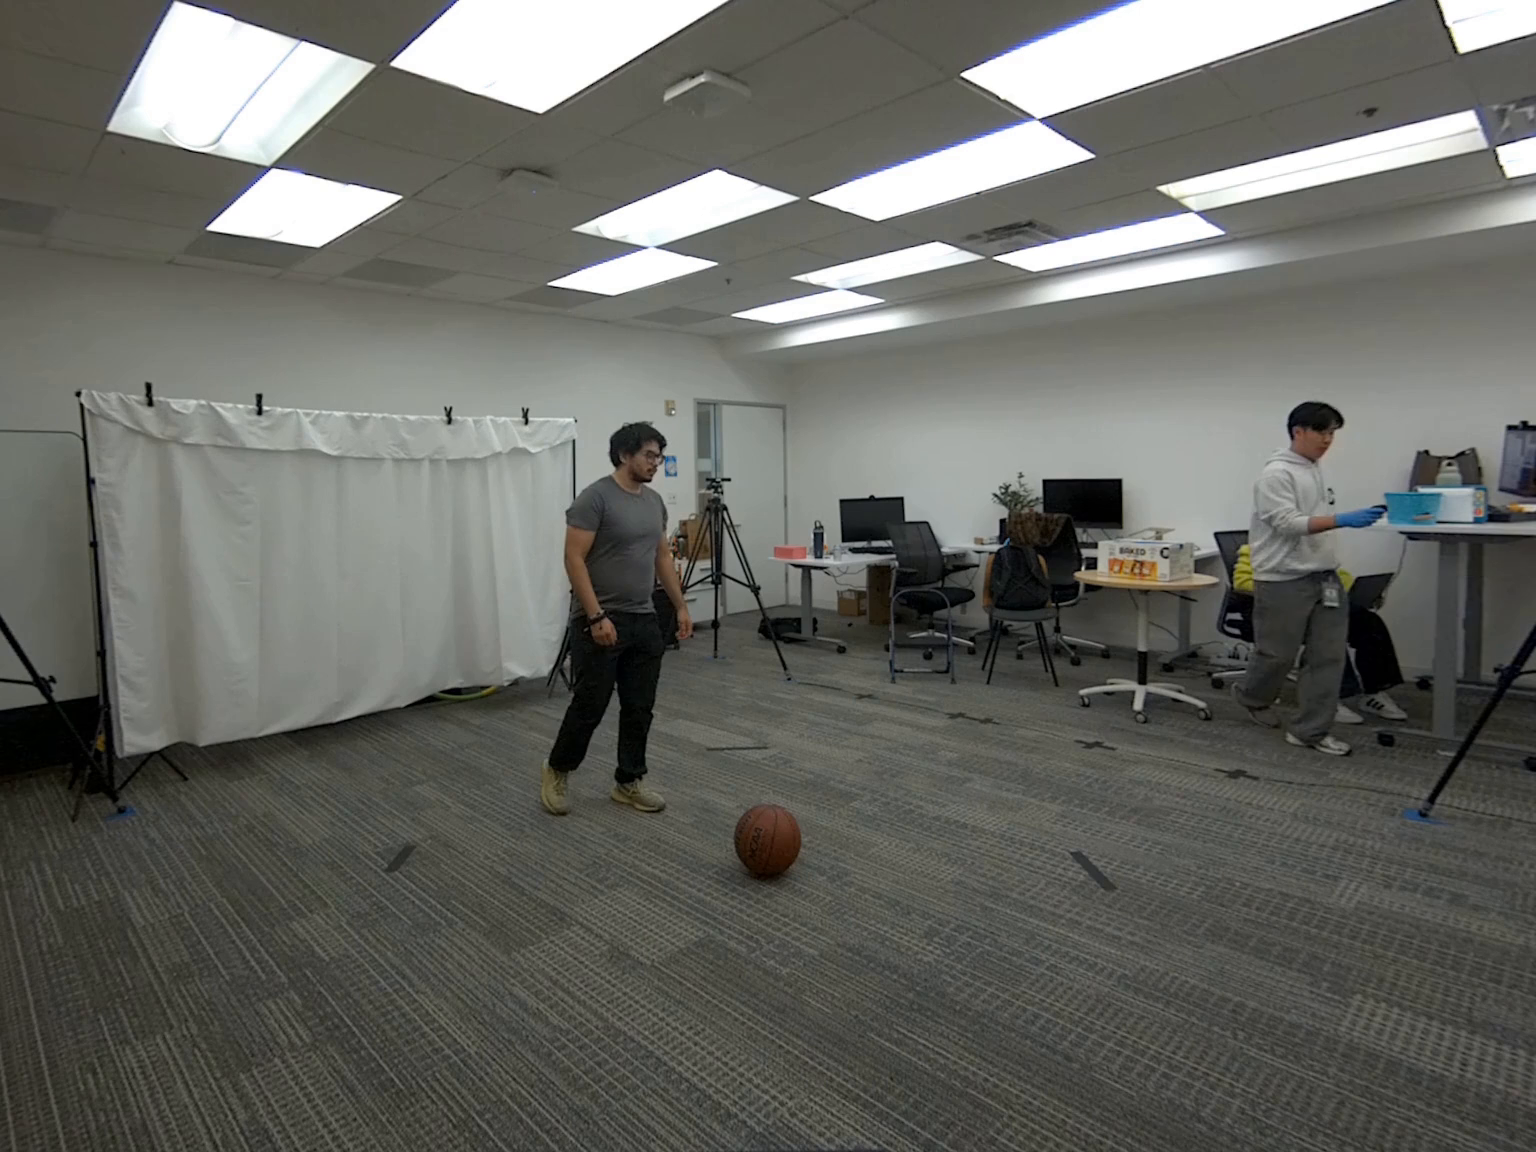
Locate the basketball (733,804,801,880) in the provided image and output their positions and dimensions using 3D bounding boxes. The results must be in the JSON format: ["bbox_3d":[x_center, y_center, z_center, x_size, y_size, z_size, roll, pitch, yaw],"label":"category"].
[{"bbox_3d":[-0.002,0.928,3.023,0.236,0.235,0.237,-1,5,-2],"label":"basketball"}]
